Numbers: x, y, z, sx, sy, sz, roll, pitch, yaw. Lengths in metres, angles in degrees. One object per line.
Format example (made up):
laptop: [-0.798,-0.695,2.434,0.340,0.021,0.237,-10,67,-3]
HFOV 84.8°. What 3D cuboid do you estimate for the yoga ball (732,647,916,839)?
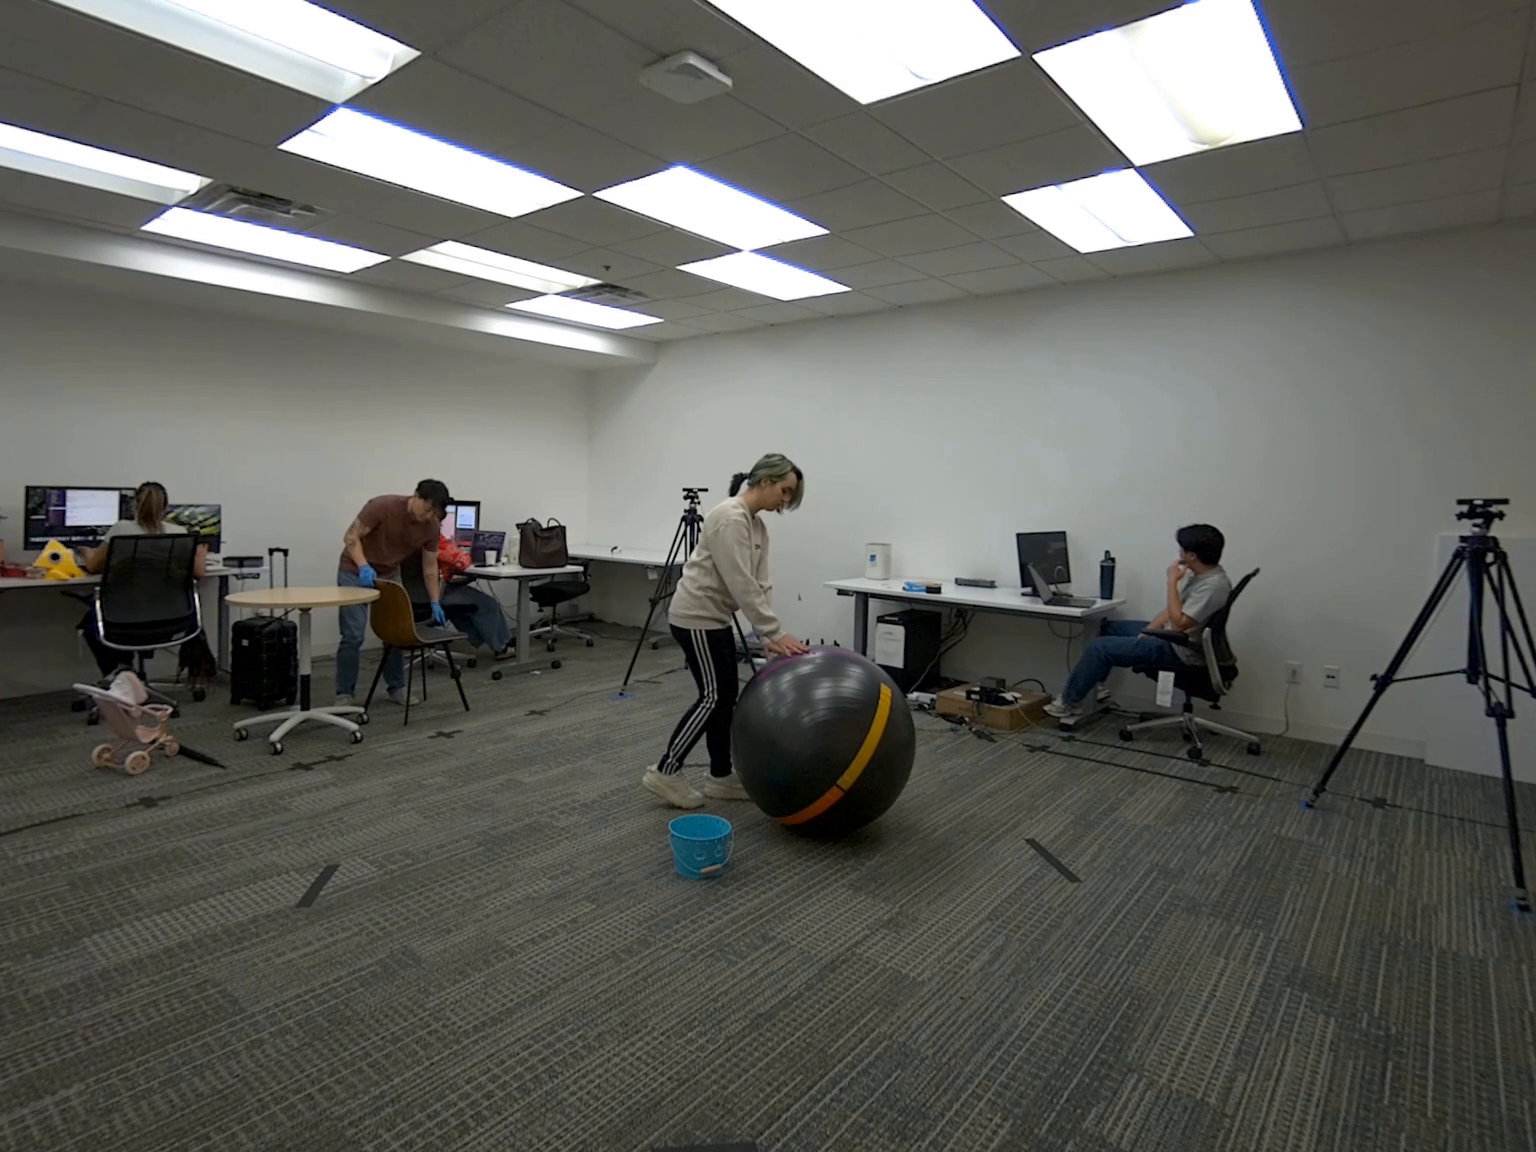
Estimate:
yoga ball: [0.218,0.669,3.510,0.757,0.755,0.762,1,4,-2]
